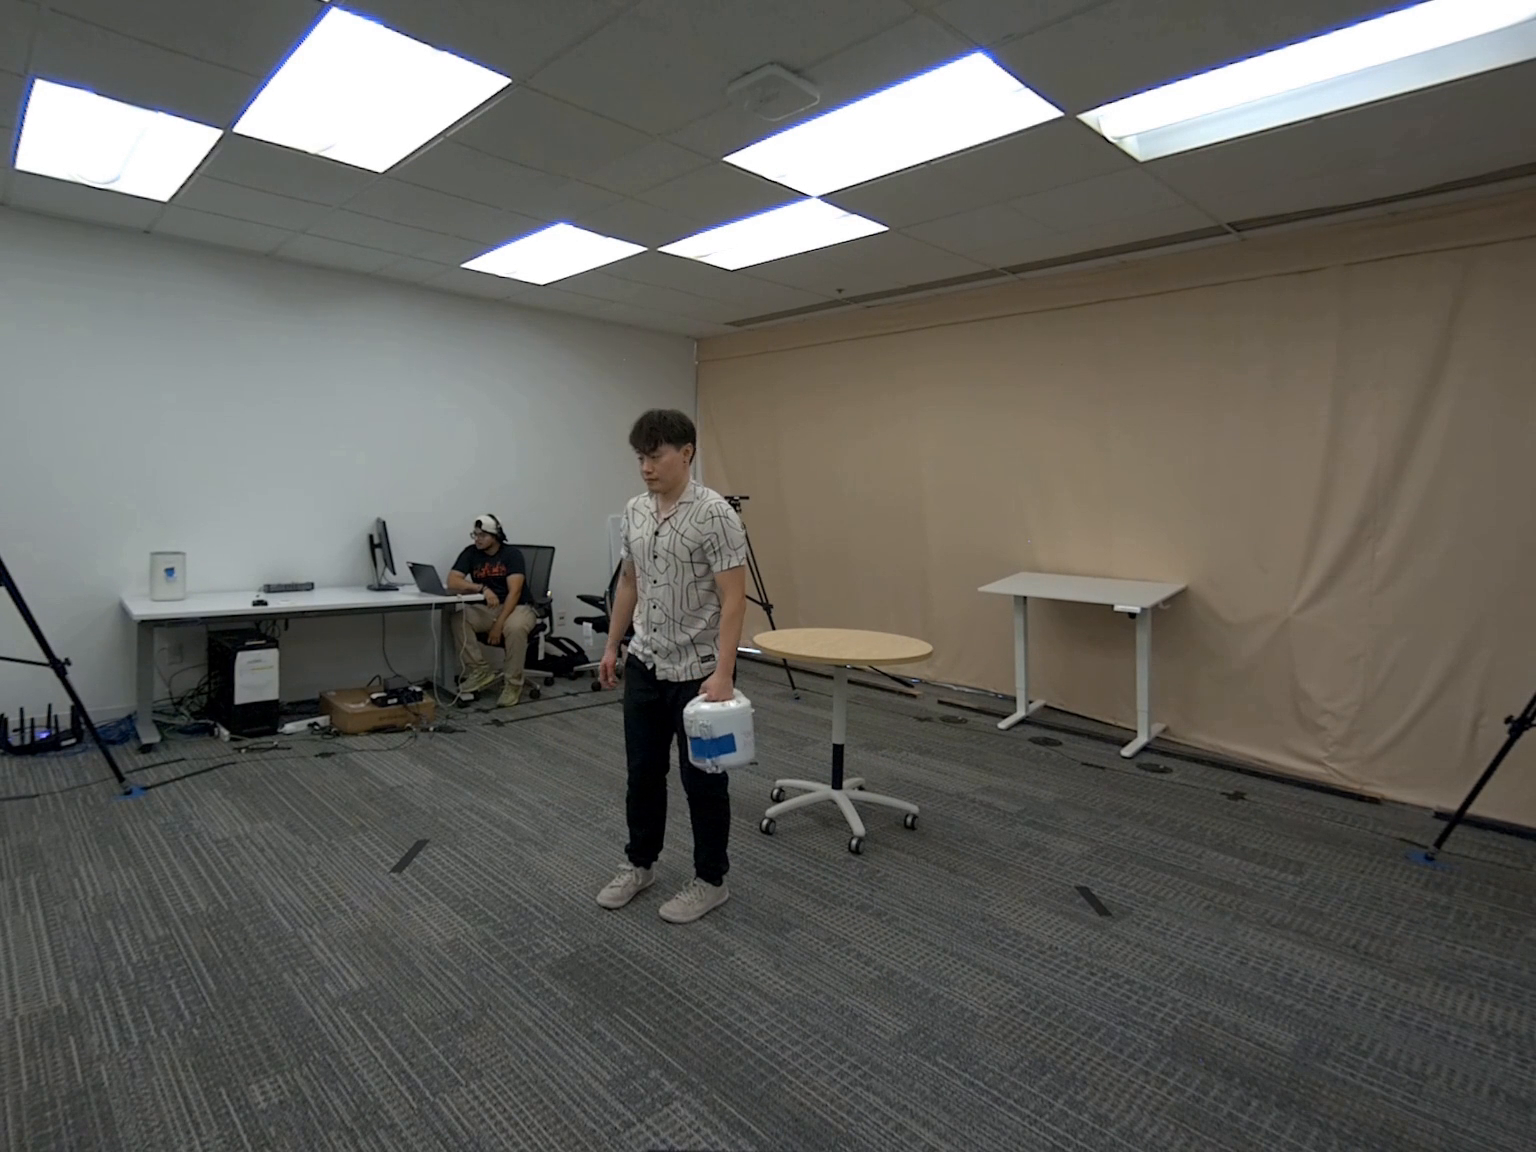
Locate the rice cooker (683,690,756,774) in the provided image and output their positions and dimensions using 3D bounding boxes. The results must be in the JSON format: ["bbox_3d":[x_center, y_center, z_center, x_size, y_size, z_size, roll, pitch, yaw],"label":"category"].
[{"bbox_3d":[-0.162,0.467,2.592,0.216,0.232,0.222,-4,2,-28],"label":"rice cooker"}]
